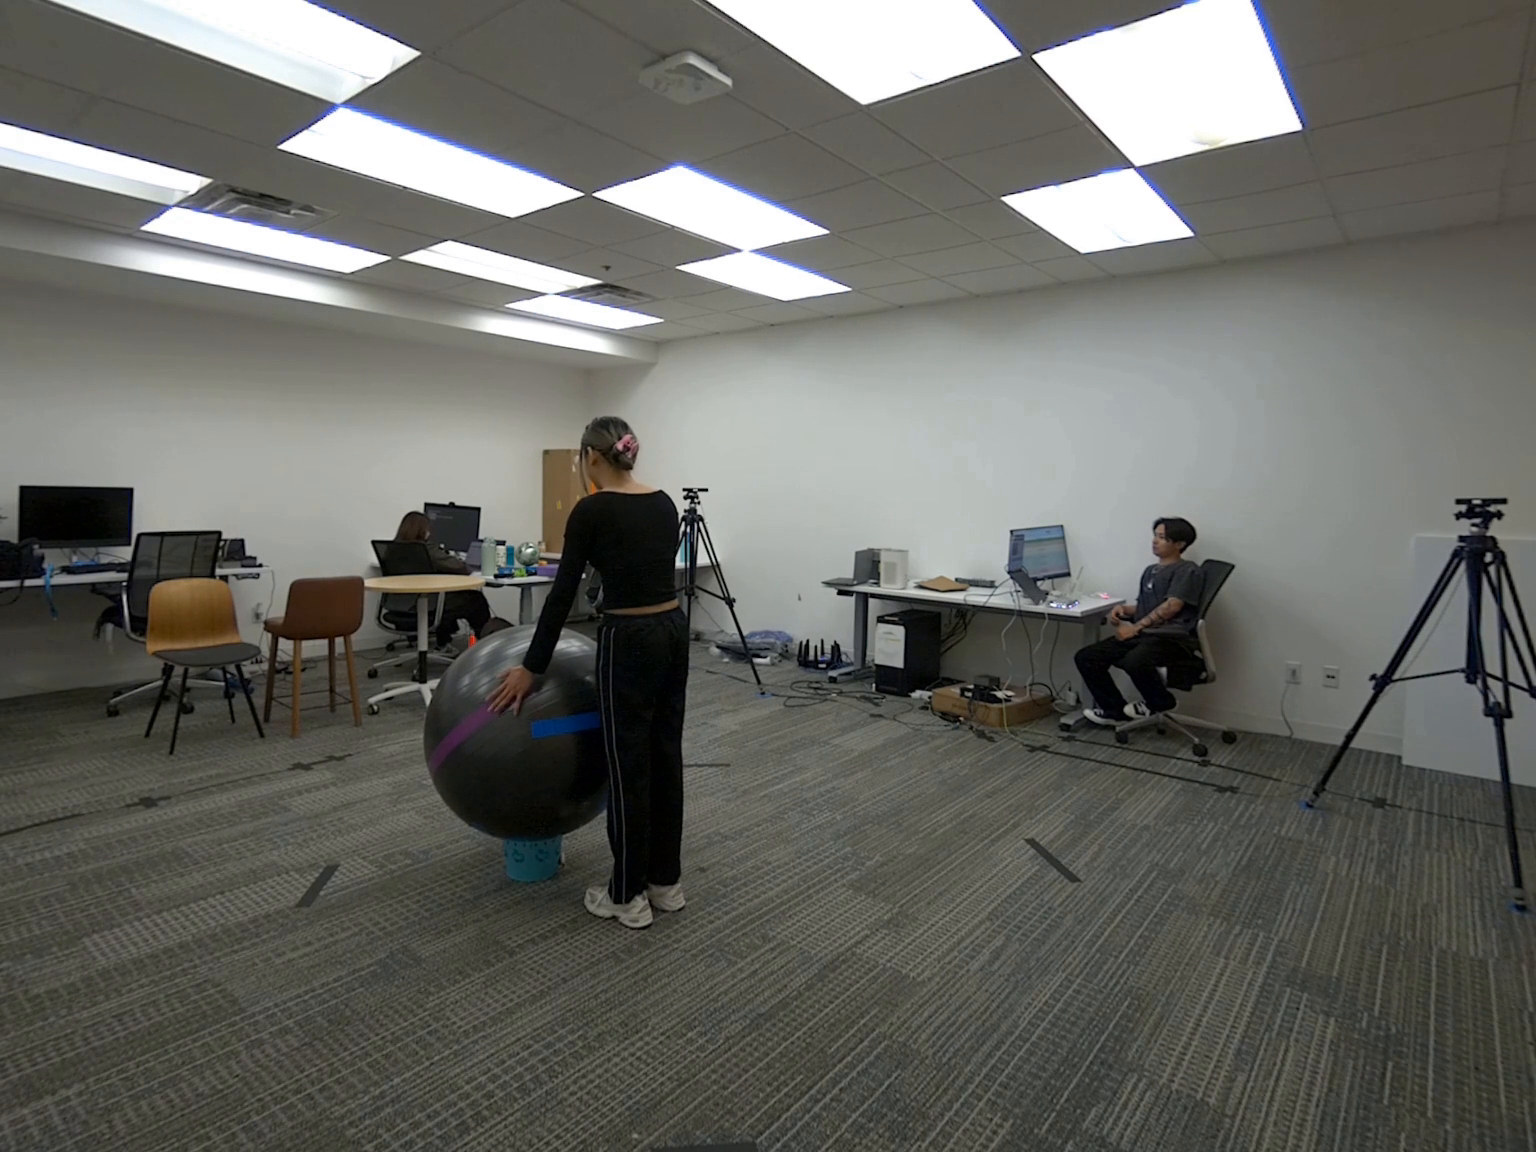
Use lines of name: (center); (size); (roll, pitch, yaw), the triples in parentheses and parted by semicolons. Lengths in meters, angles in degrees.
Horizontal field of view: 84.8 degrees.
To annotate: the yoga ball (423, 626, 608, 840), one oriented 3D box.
yoga ball: (-0.860, 0.557, 3.059); (0.757, 0.755, 0.762); (1, 4, -2)
